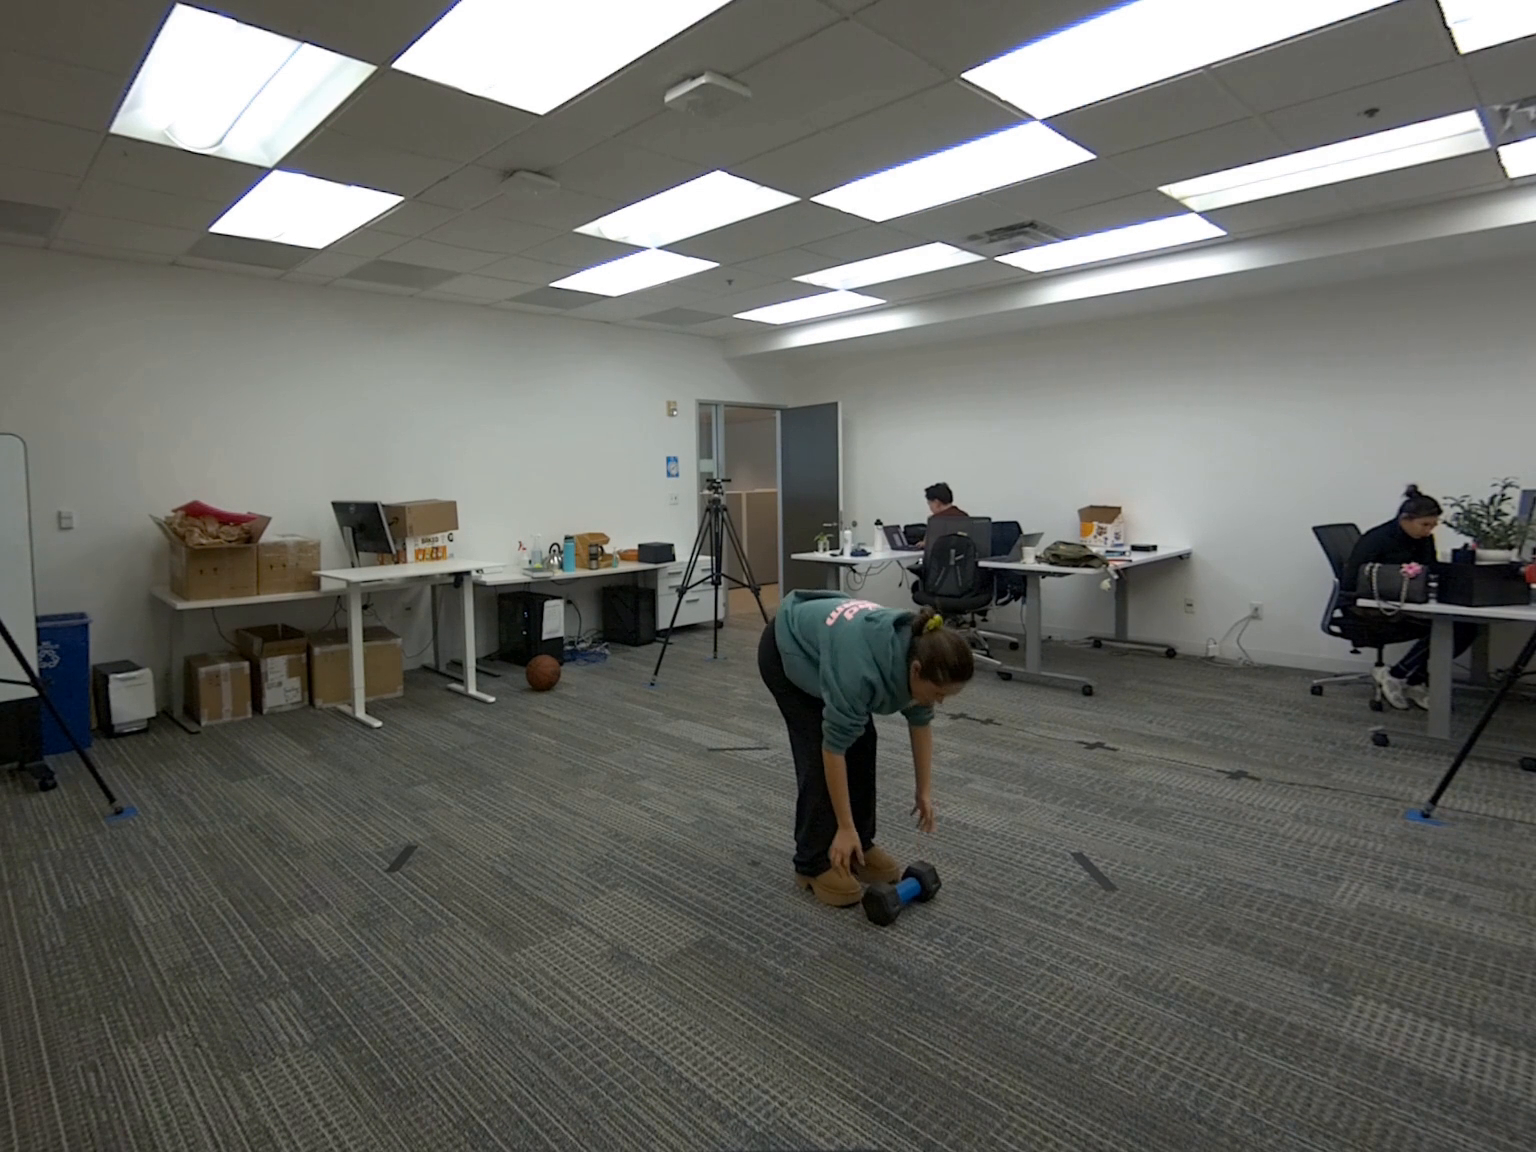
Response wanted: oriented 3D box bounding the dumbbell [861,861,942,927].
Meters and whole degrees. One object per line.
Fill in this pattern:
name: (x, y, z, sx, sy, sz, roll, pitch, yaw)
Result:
dumbbell: (0.439, 1.022, 2.757, 0.286, 0.121, 0.113, -7, 39, -43)
